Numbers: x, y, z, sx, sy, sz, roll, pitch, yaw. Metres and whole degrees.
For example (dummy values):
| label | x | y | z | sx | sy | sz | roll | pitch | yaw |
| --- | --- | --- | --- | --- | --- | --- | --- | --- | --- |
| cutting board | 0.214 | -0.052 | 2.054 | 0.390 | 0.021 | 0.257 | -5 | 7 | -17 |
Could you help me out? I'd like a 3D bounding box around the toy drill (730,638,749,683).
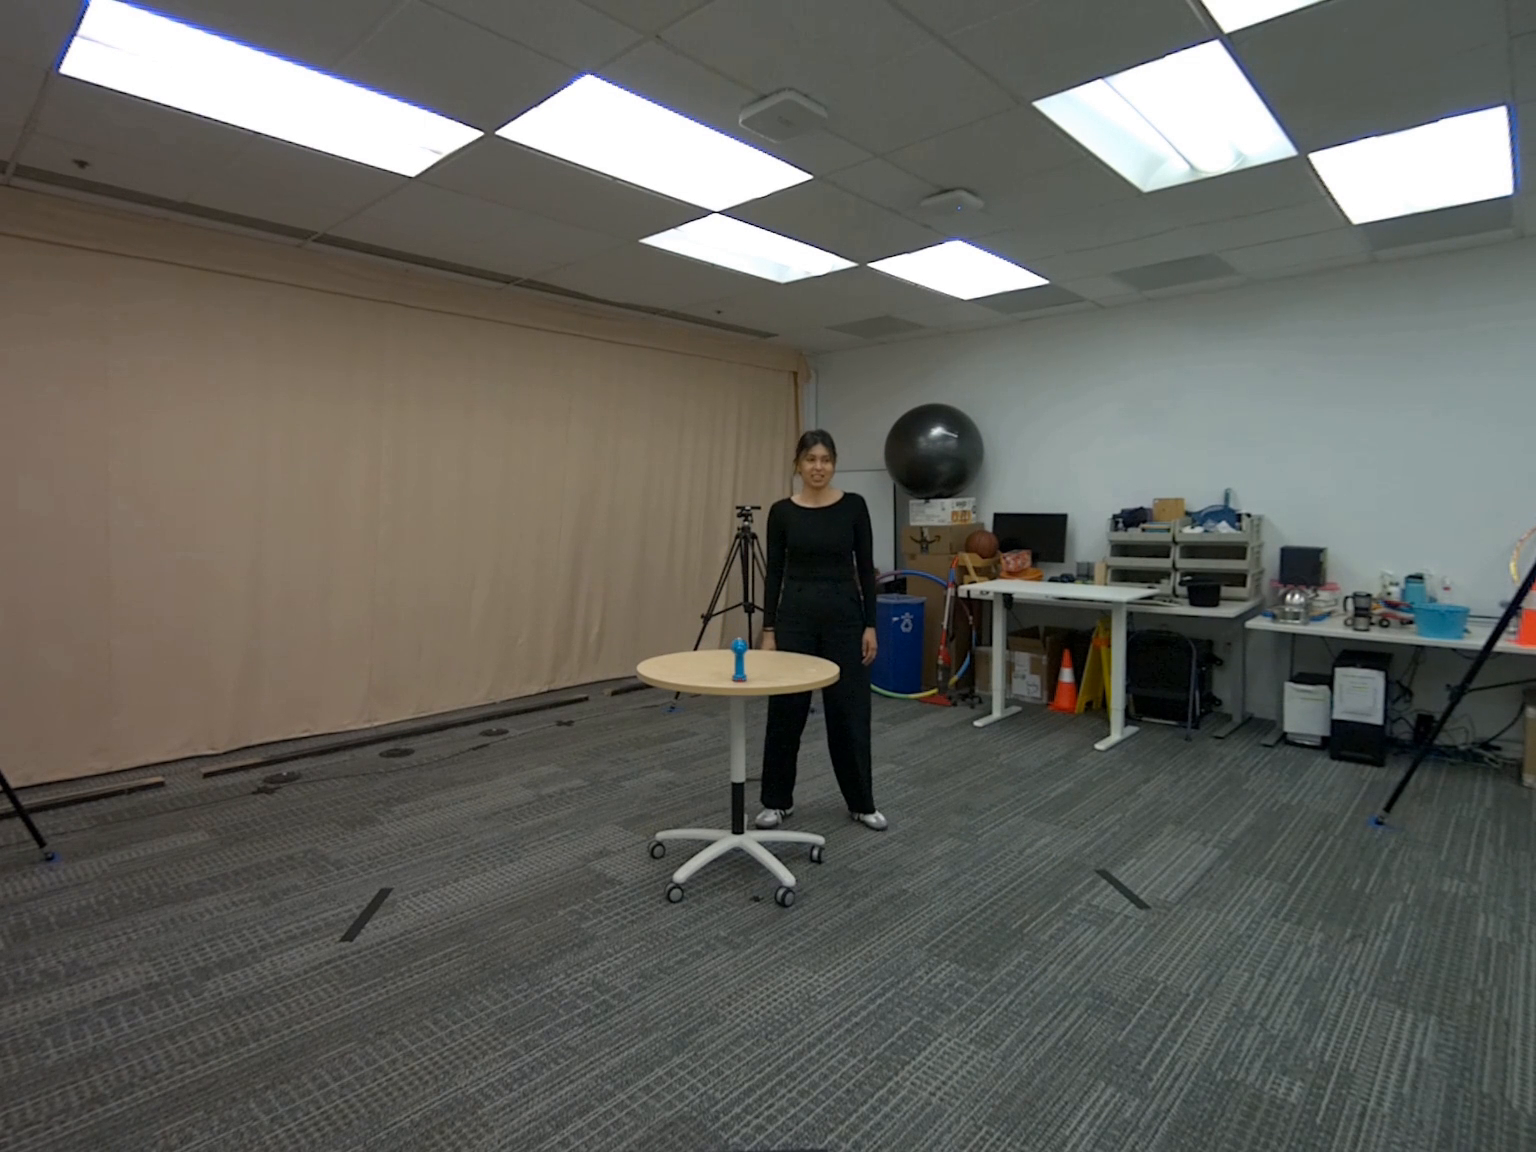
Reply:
| label | x | y | z | sx | sy | sz | roll | pitch | yaw |
| --- | --- | --- | --- | --- | --- | --- | --- | --- | --- |
| toy drill | -0.100 | 0.291 | 2.965 | 0.061 | 0.146 | 0.171 | 0 | 3 | -7 |
